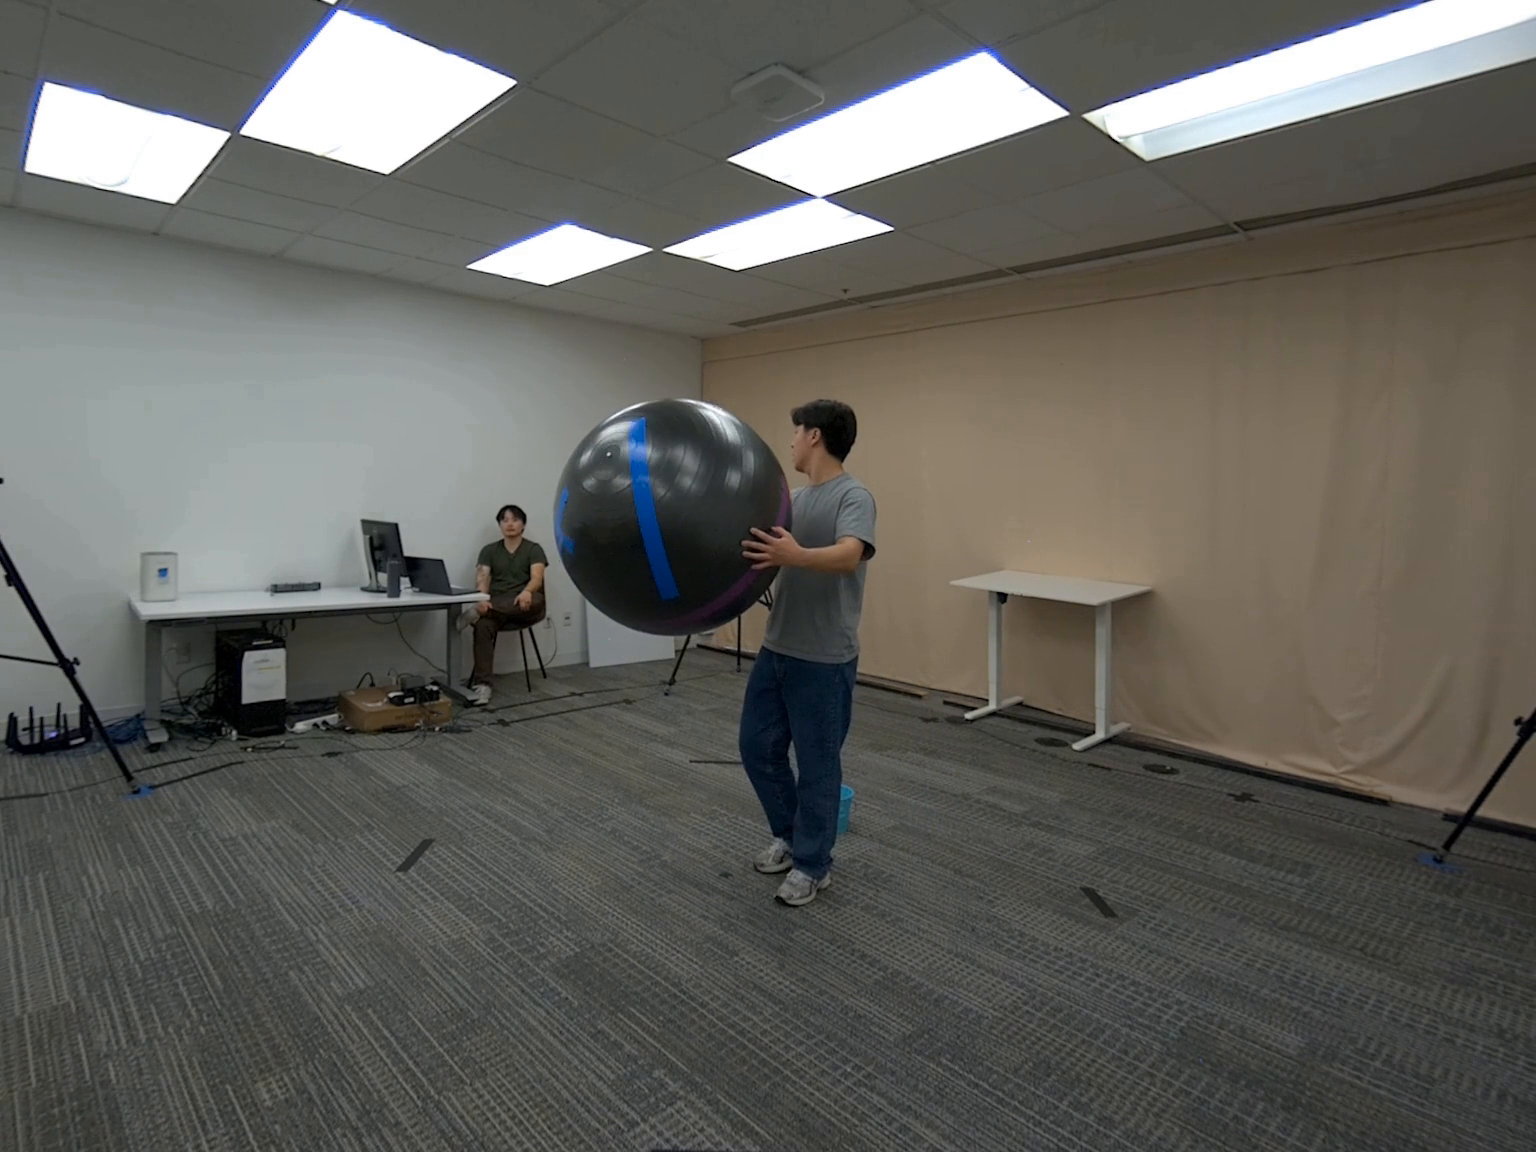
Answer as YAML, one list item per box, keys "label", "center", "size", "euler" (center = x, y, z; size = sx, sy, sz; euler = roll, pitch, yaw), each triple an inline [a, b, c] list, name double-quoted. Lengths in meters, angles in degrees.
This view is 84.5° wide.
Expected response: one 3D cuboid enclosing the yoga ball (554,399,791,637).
- label: "yoga ball"
  center: [-0.305, -0.171, 2.699]
  size: [0.757, 0.756, 0.761]
  euler: [1, 4, -1]
